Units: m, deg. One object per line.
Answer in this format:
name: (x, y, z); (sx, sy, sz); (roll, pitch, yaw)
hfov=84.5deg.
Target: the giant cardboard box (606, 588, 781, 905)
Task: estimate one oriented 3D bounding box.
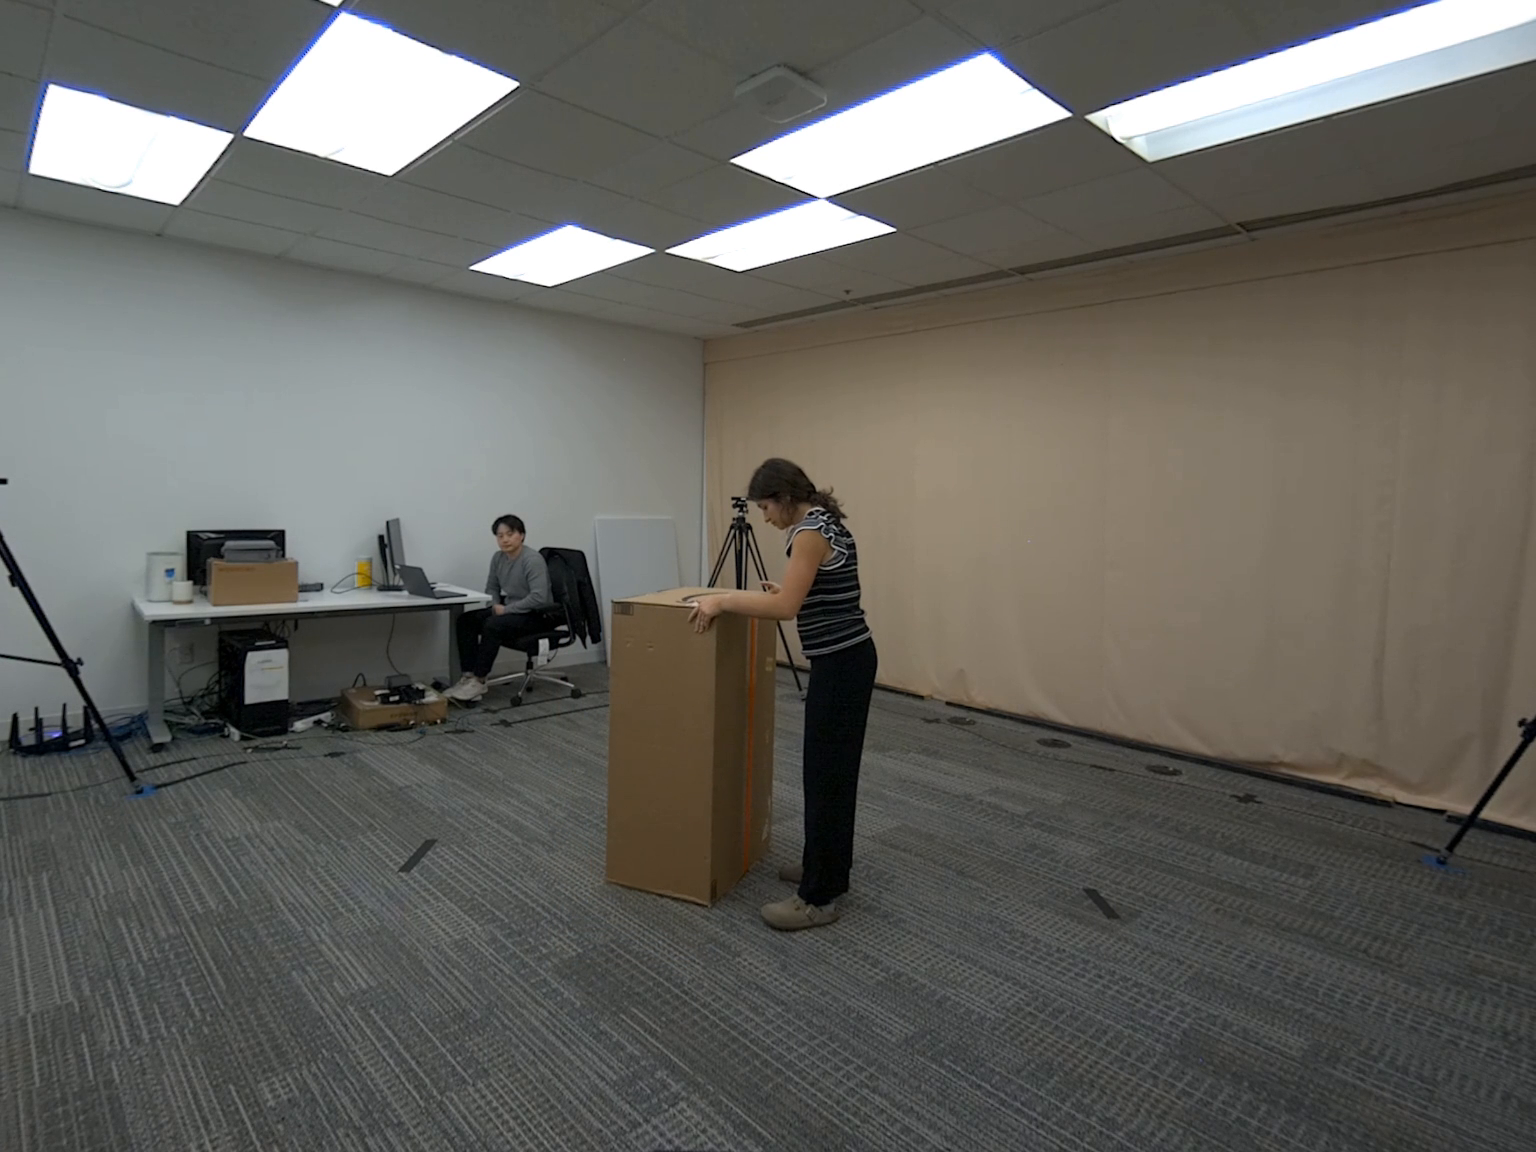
giant cardboard box: (-0.281, 0.590, 3.180); (0.434, 1.024, 0.568); (3, 3, 23)
